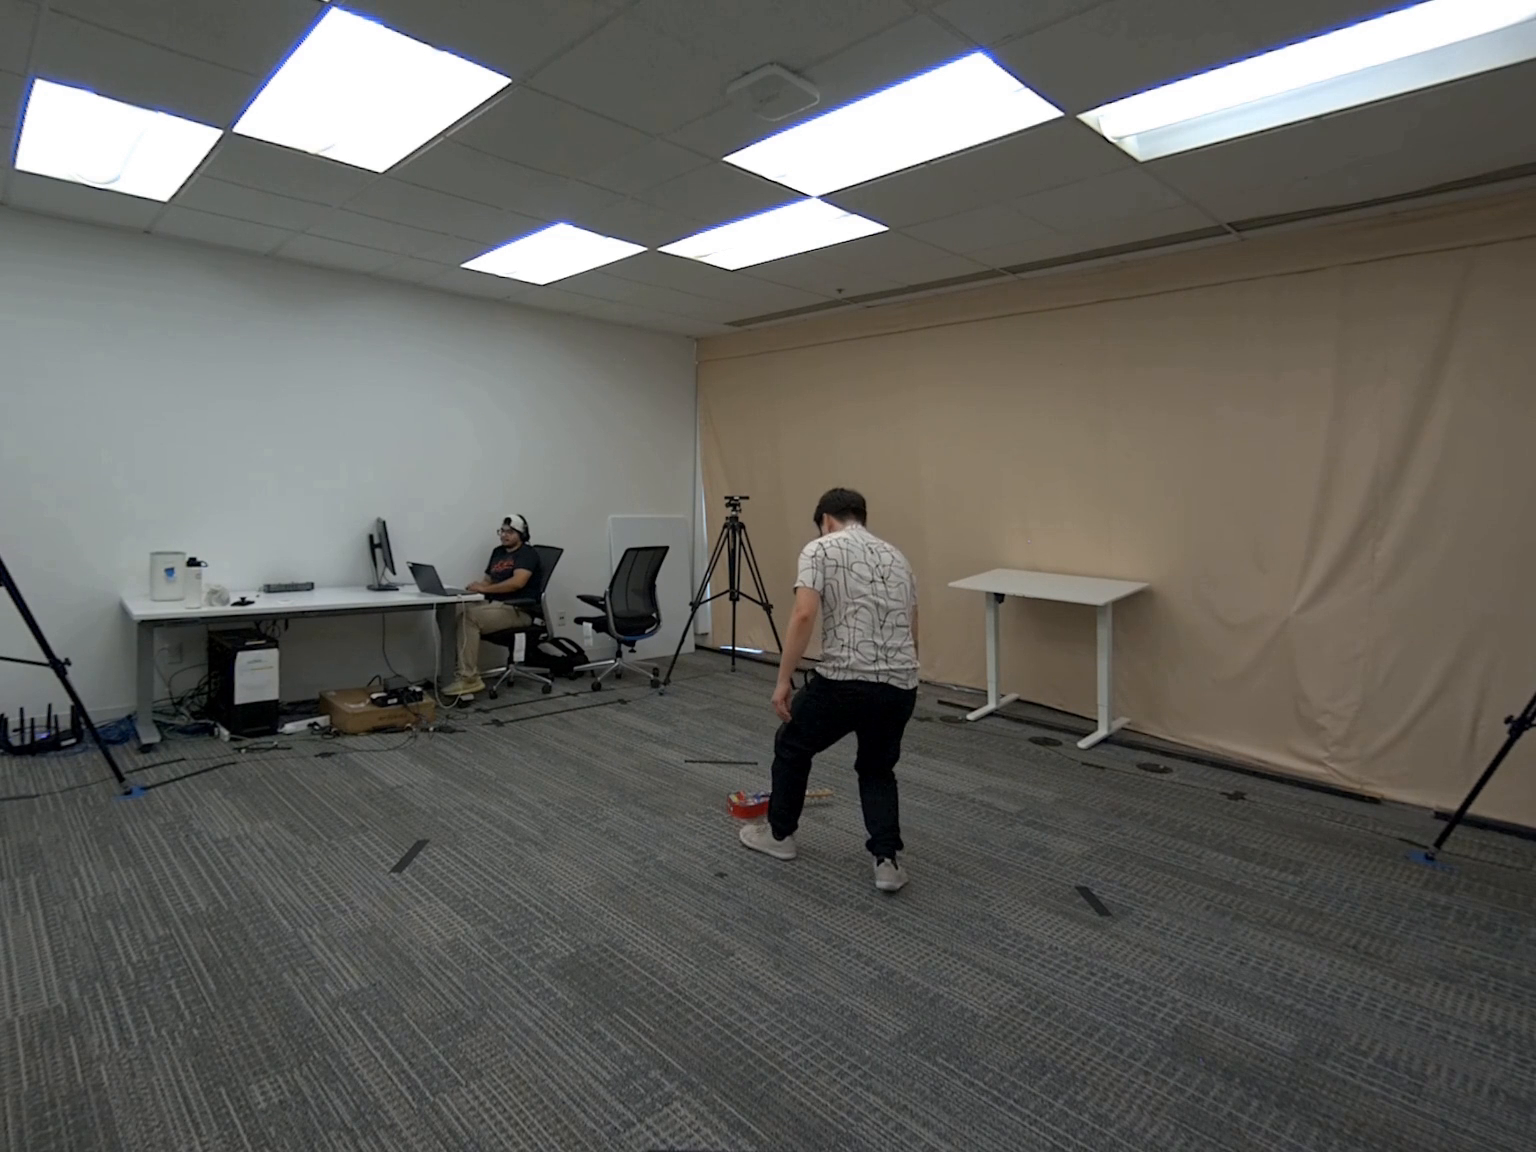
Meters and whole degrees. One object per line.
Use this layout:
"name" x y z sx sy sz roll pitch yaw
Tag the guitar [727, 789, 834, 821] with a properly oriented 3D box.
"guitar" 0.058 1.018 3.779 0.495 0.070 0.194 0 4 -7
